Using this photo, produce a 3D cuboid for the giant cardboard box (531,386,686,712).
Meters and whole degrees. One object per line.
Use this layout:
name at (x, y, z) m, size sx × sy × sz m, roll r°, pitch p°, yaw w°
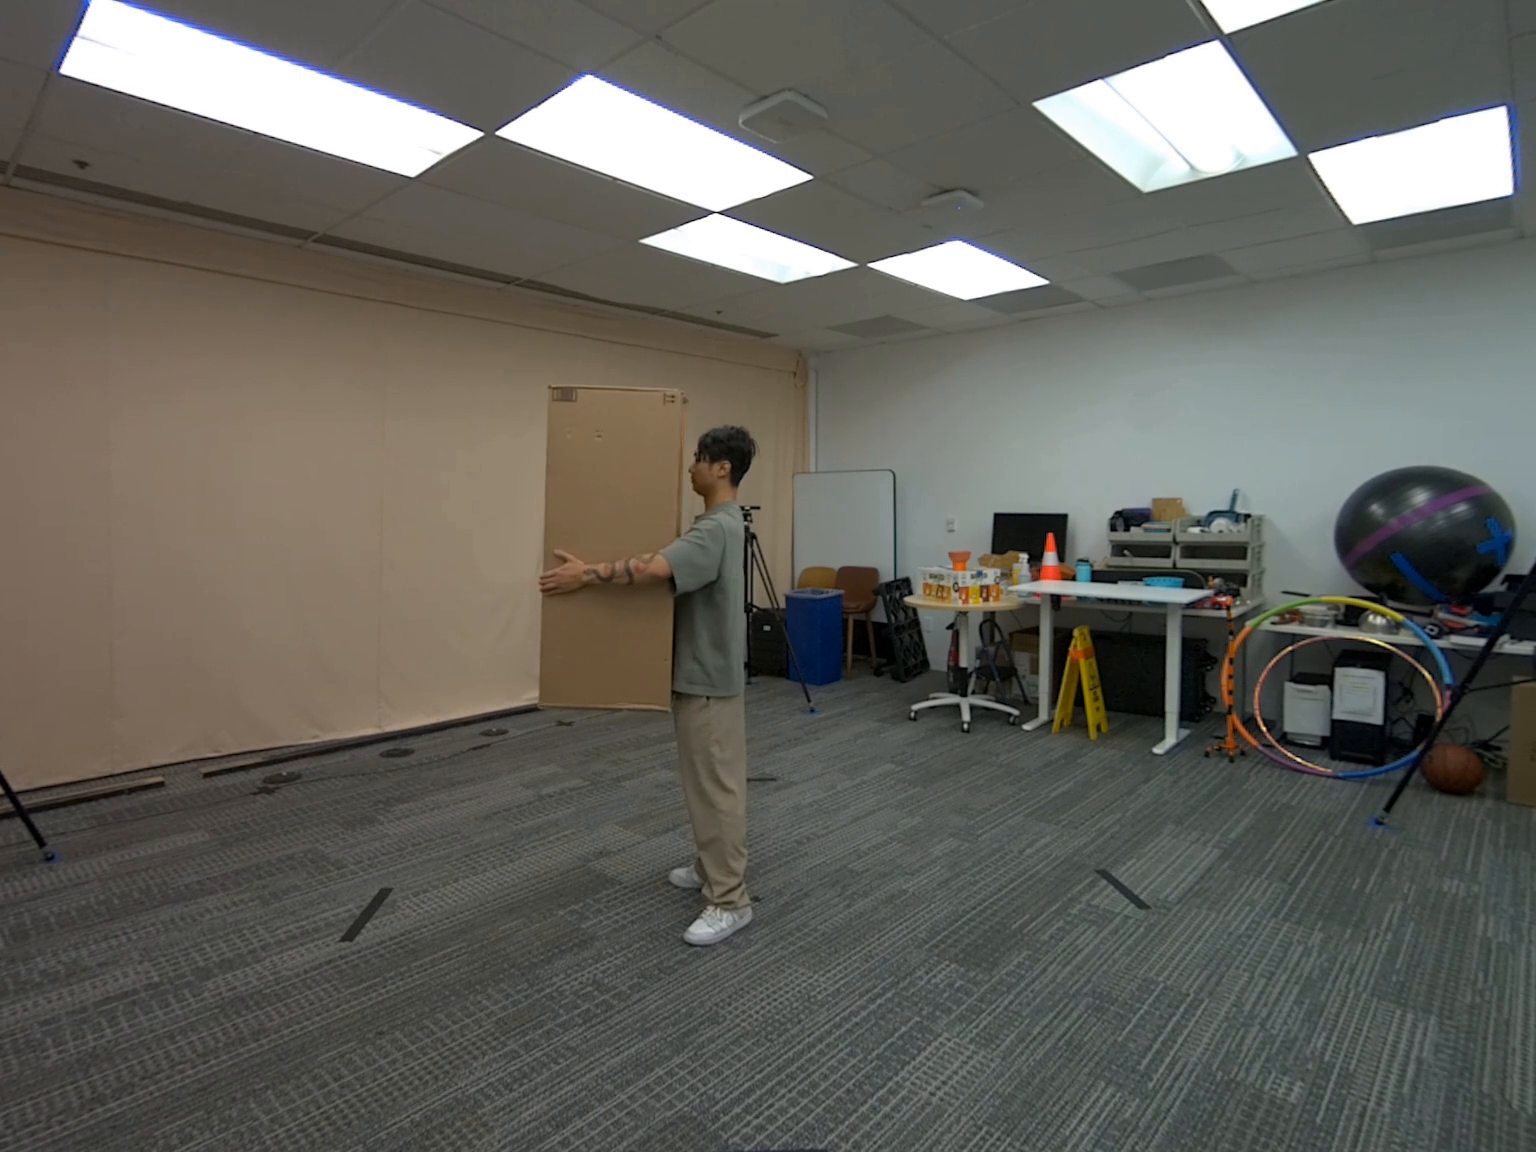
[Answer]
giant cardboard box at (-0.519, -0.106, 2.934) m, size 0.425 × 1.025 × 0.579 m, roll 3°, pitch 2°, yaw -3°
